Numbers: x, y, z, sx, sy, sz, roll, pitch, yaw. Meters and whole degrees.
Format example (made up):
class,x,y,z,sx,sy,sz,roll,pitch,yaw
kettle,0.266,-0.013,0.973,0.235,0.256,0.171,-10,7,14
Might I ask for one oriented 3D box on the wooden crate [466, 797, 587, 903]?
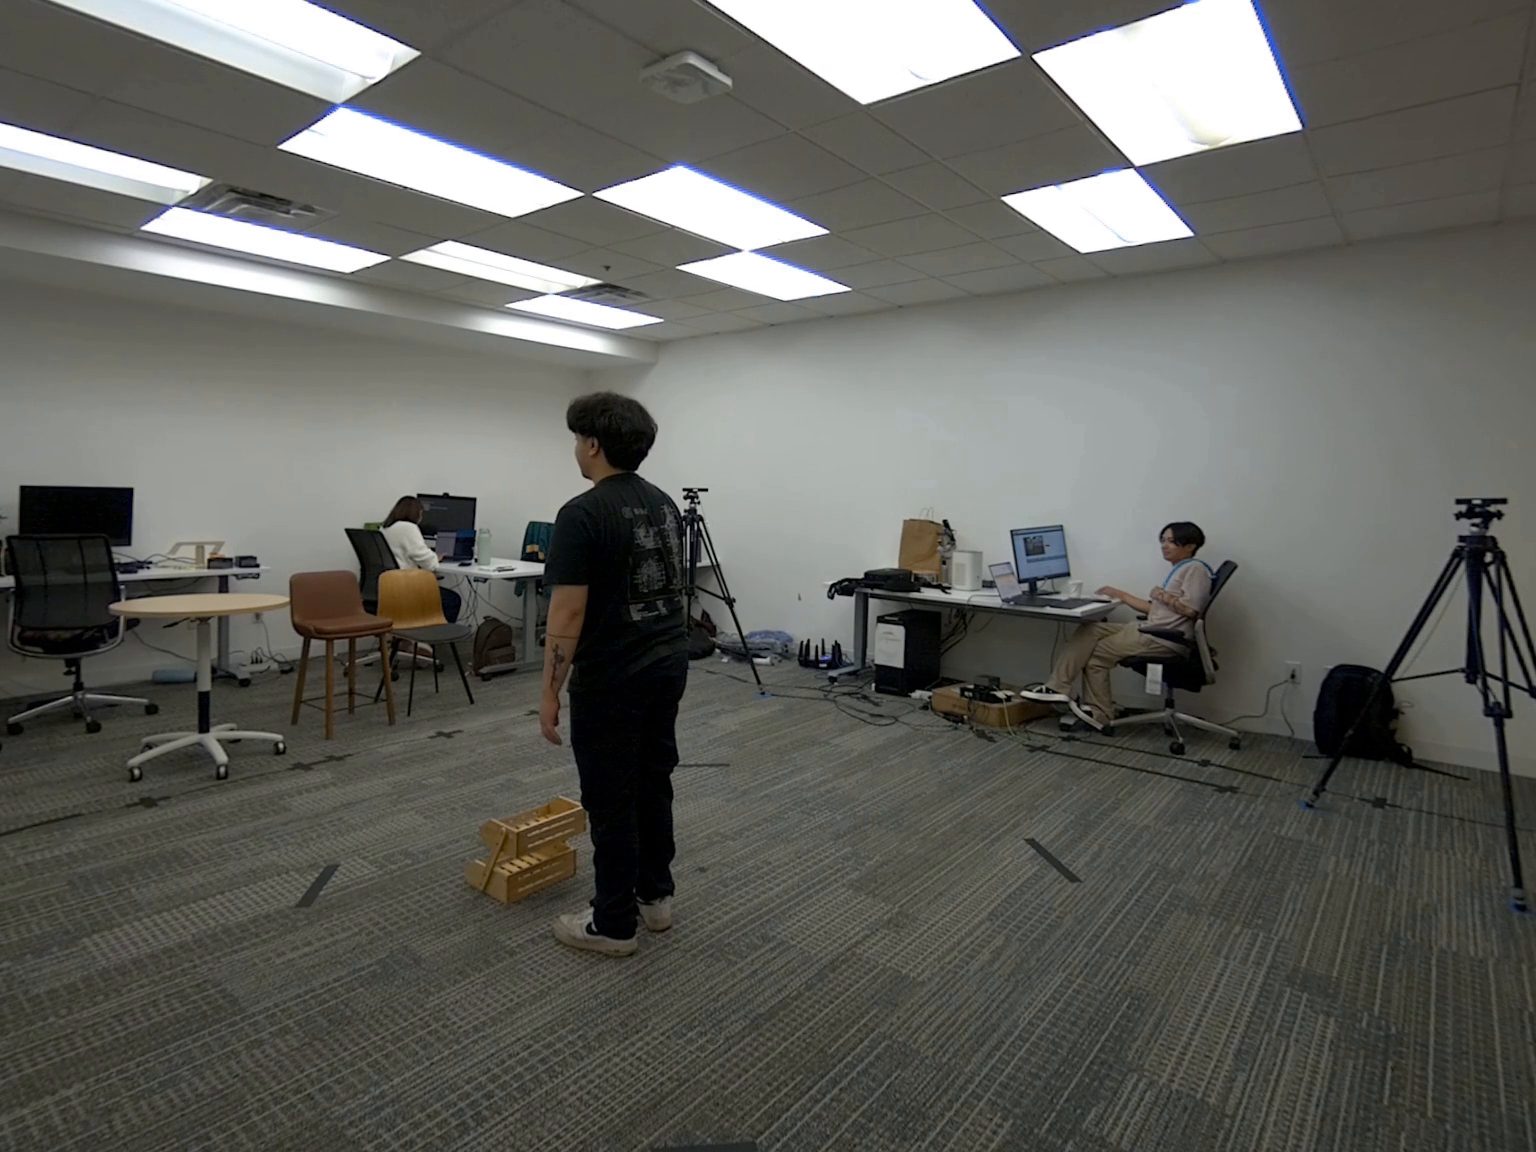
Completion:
class,x,y,z,sx,sy,sz,roll,pitch,yaw
wooden crate,-0.870,0.935,2.997,0.312,0.272,0.315,6,6,38
